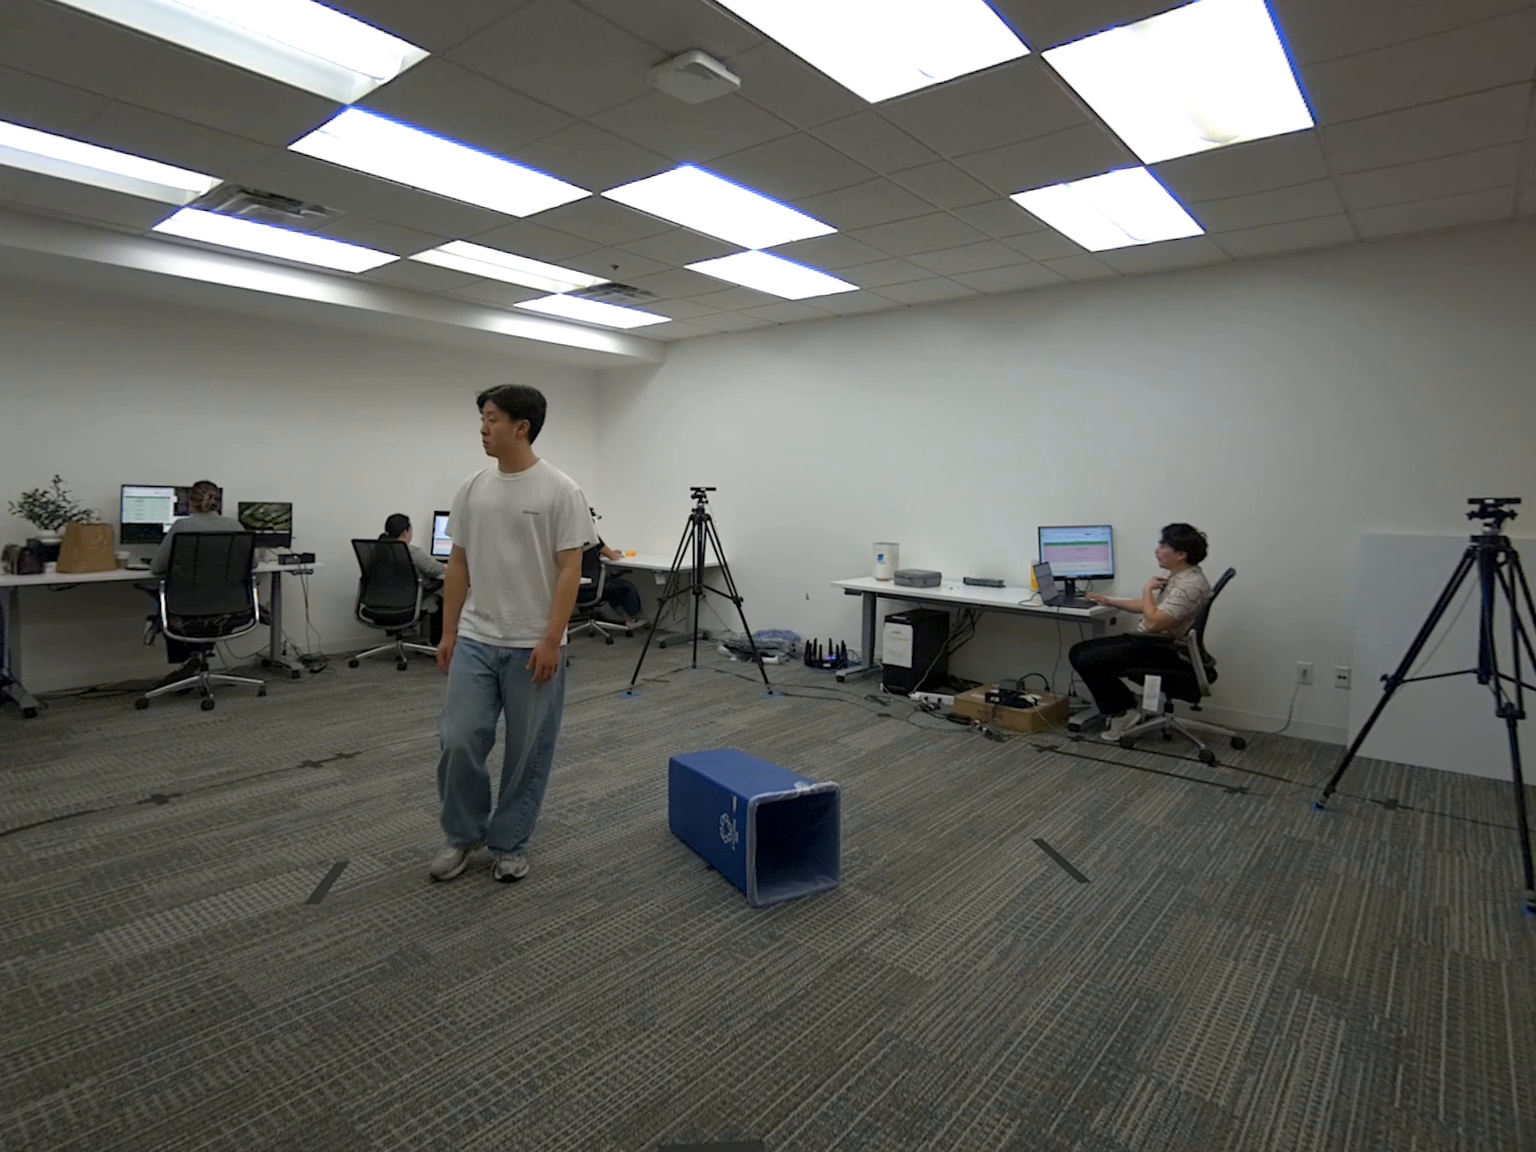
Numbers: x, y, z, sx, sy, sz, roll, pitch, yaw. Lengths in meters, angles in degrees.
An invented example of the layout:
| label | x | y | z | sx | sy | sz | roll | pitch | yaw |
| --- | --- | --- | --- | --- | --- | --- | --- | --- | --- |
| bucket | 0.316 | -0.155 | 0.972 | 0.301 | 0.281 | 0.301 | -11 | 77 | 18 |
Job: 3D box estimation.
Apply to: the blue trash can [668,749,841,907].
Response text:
| label | x | y | z | sx | sy | sz | roll | pitch | yaw |
| --- | --- | --- | --- | --- | --- | --- | --- | --- | --- |
| blue trash can | -0.104 | 0.898 | 3.196 | 0.364 | 0.377 | 0.734 | -1 | 3 | -32 |
